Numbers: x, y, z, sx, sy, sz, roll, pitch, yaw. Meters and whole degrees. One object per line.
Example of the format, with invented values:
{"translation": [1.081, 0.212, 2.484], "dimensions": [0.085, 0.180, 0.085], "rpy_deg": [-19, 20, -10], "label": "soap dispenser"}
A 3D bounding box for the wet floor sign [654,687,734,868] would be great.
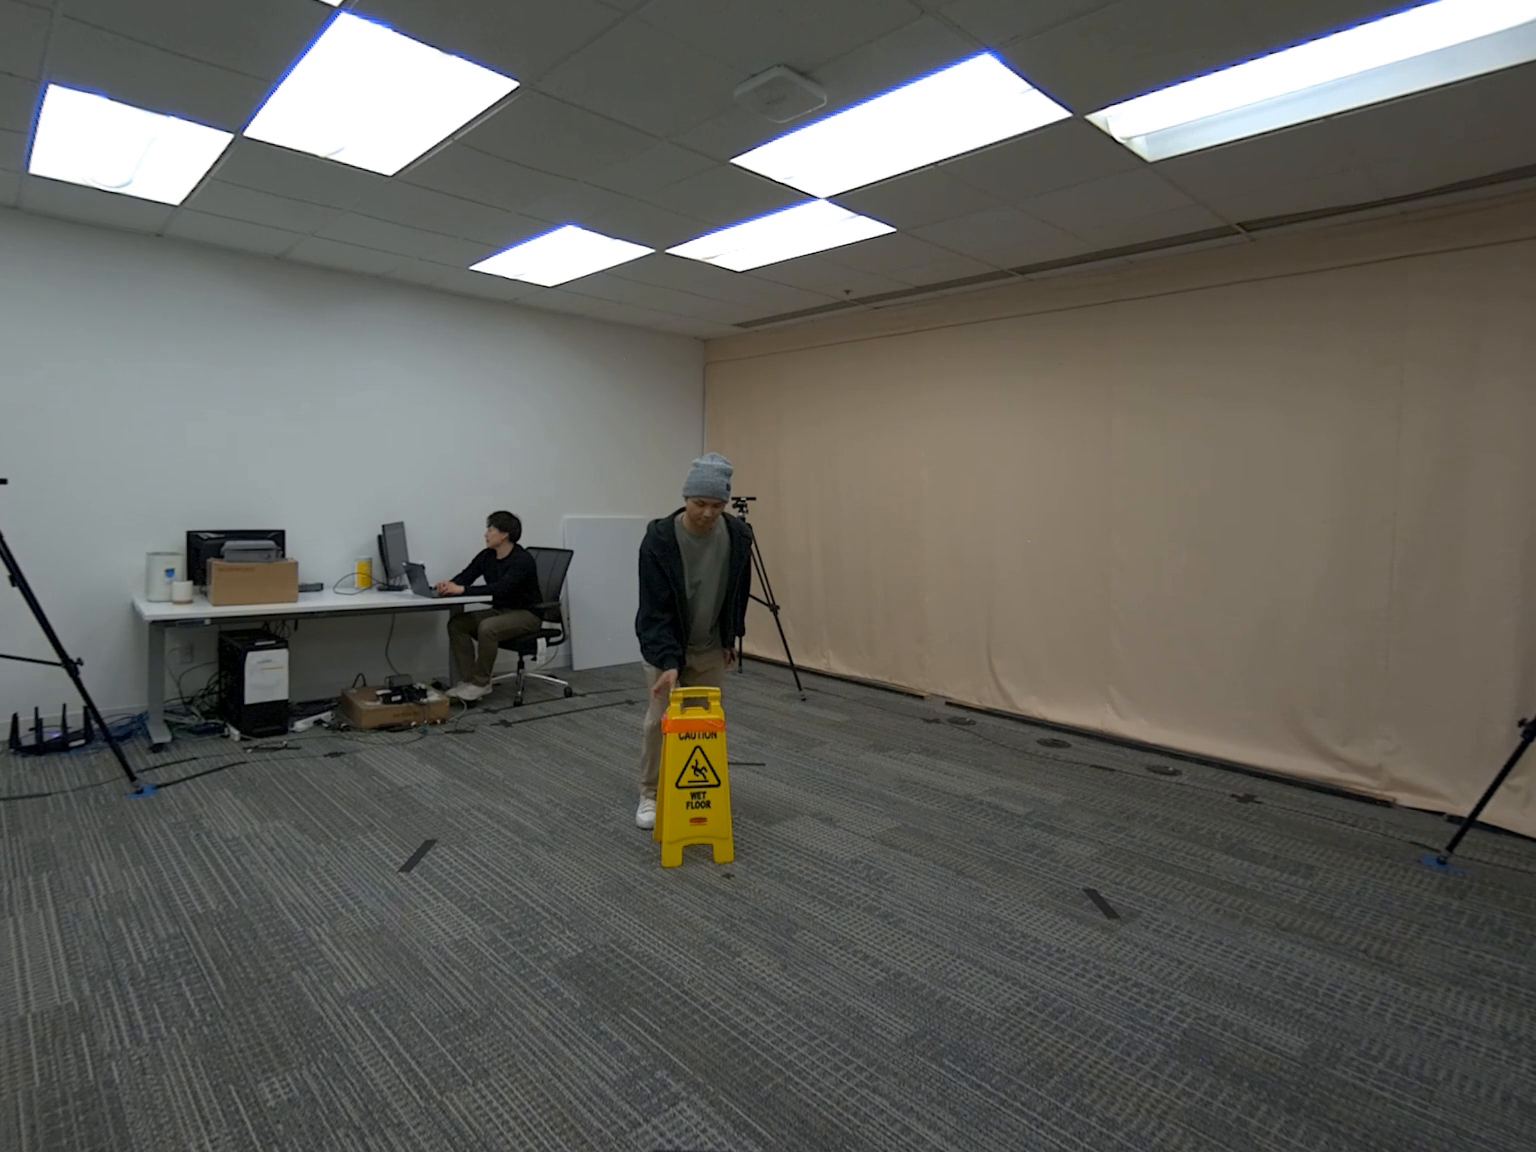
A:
{"translation": [-0.305, 0.758, 3.305], "dimensions": [0.279, 0.644, 0.293], "rpy_deg": [2, 3, -14], "label": "wet floor sign"}
